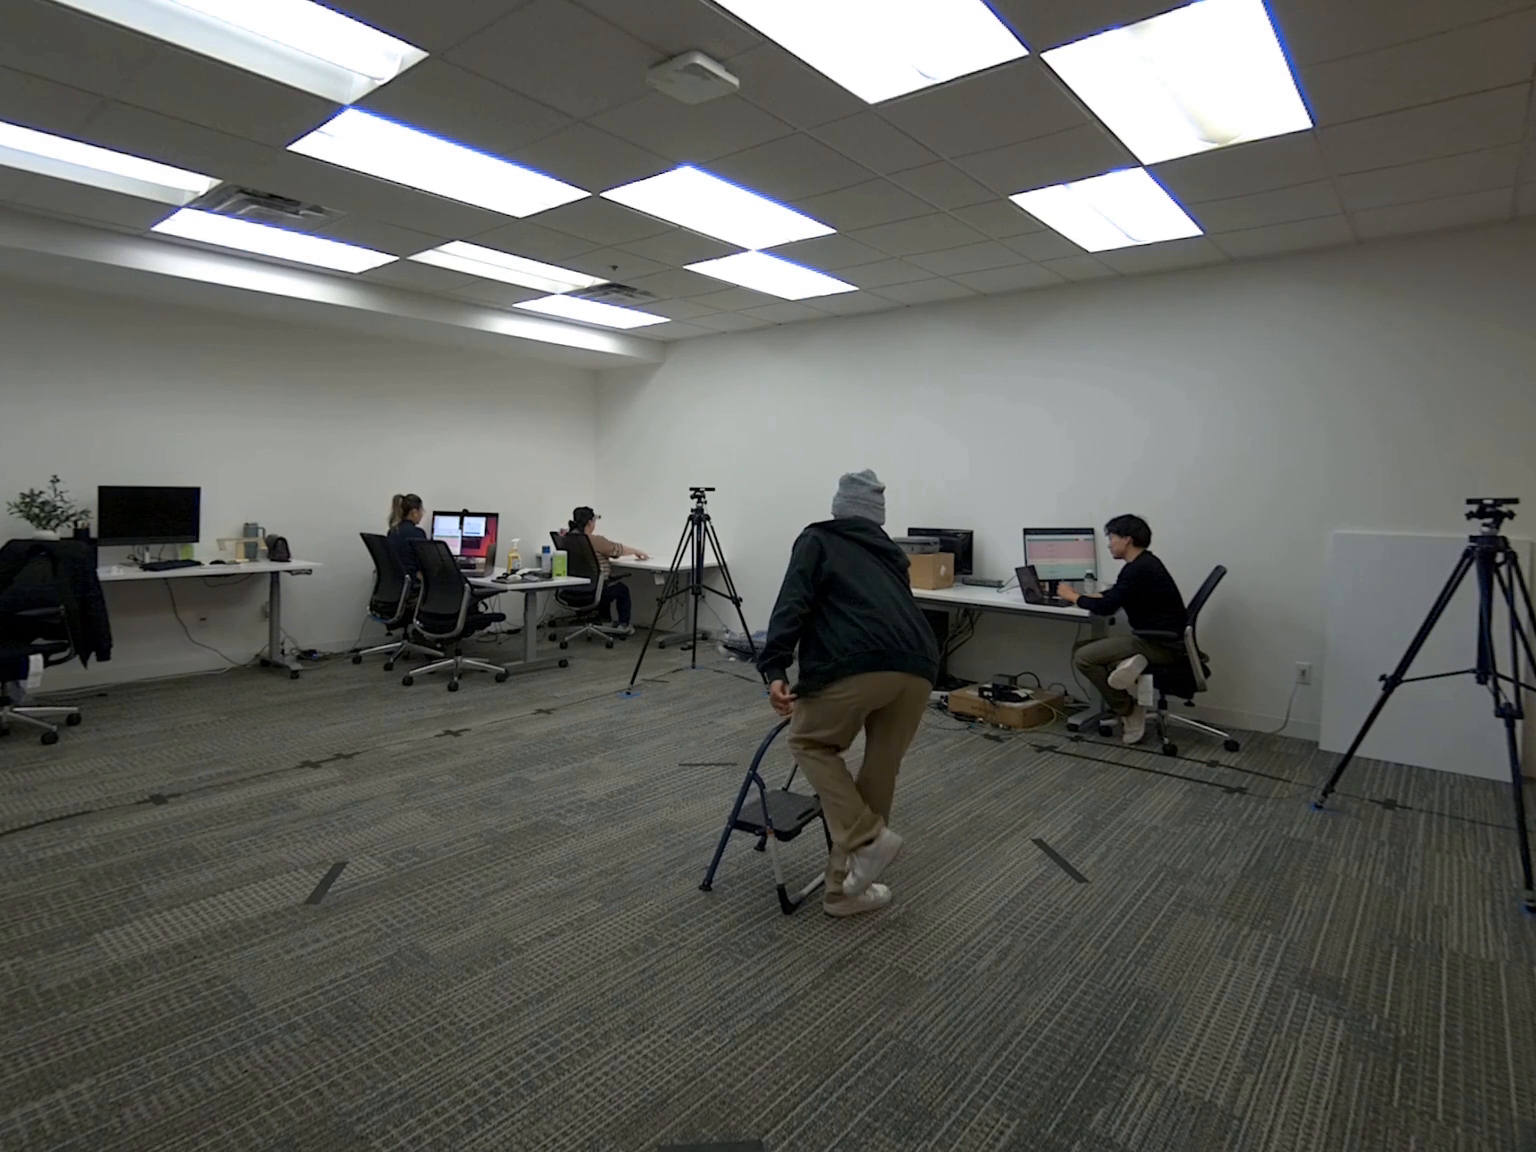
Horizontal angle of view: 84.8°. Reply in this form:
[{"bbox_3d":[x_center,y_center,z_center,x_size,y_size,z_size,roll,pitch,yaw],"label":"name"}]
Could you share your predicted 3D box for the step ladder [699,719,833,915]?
[{"bbox_3d":[0.013,0.777,3.019,0.359,0.604,0.419,3,4,29],"label":"step ladder"}]
